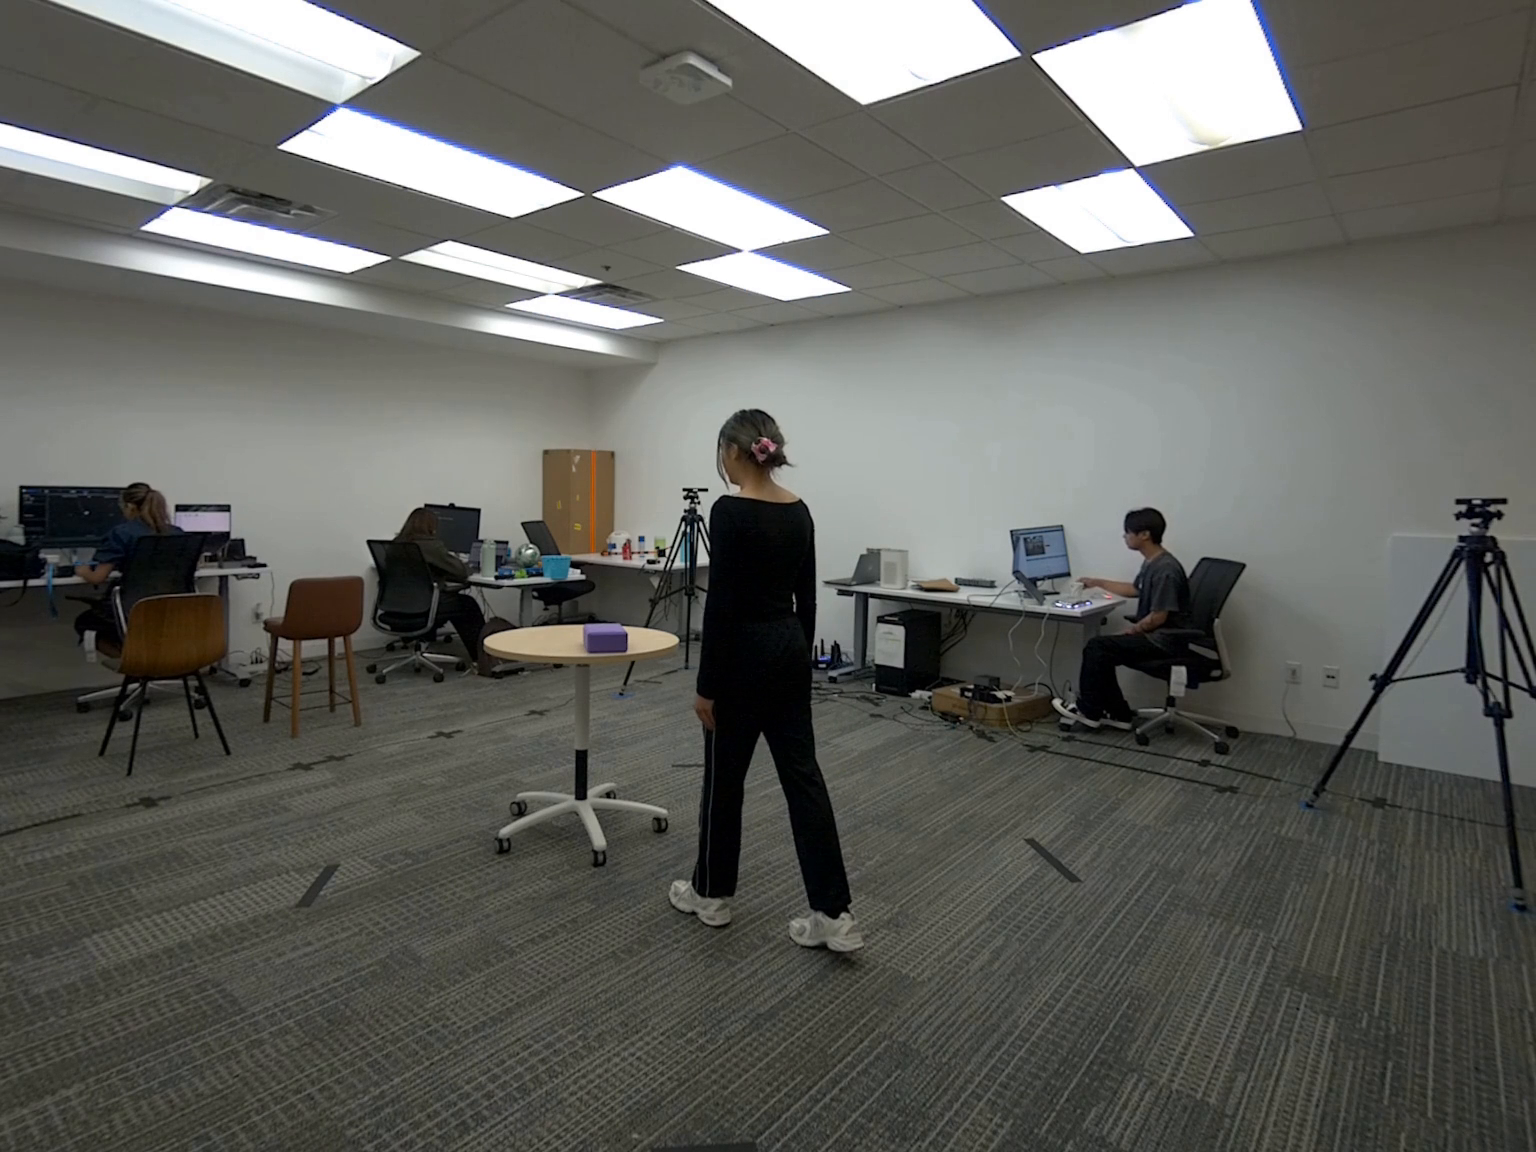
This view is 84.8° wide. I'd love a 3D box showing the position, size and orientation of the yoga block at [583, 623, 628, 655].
[{"bbox_3d":[-0.628,0.229,3.203,0.147,0.076,0.233,-1,5,-11],"label":"yoga block"}]
